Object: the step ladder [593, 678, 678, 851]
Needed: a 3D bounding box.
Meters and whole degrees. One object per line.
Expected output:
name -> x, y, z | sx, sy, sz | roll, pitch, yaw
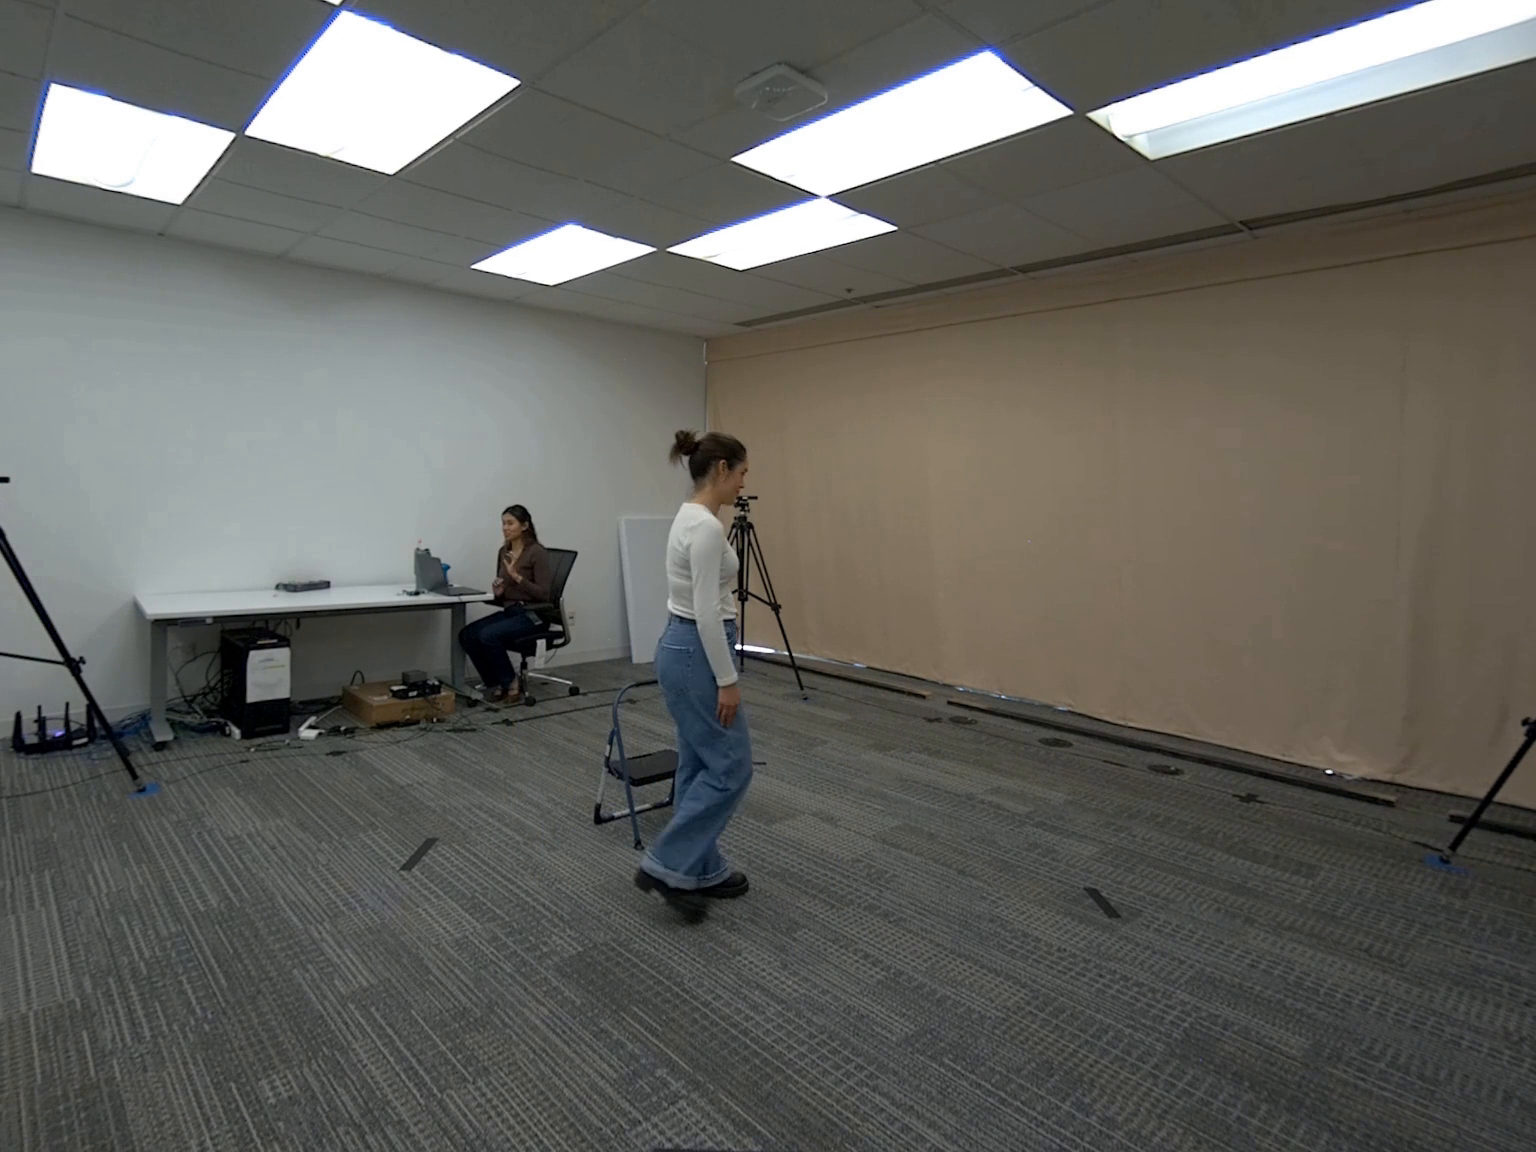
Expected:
step ladder -> -0.471, 0.755, 3.551 | 0.420, 0.605, 0.358 | -1, 4, -43
